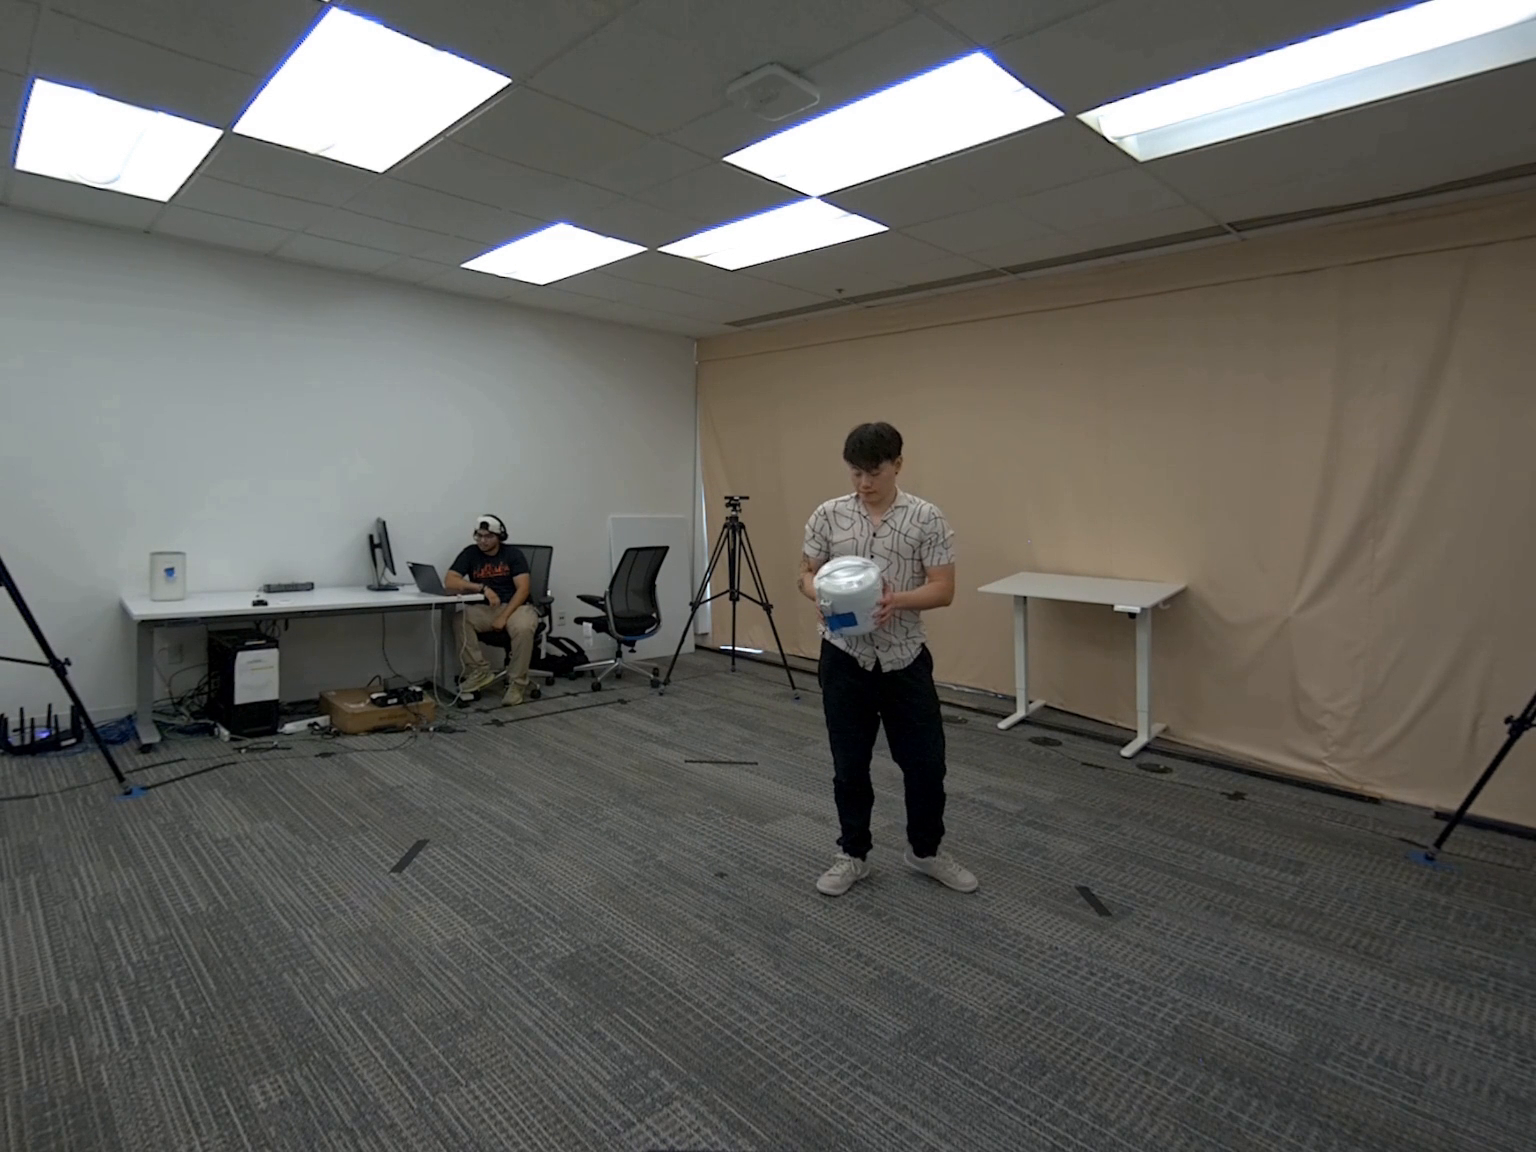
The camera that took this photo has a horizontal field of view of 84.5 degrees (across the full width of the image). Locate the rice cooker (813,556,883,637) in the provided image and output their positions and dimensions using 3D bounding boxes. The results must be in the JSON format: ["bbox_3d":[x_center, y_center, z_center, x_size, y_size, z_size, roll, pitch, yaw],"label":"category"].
[{"bbox_3d":[0.262,0.055,2.723,0.221,0.227,0.222,-12,32,2],"label":"rice cooker"}]
